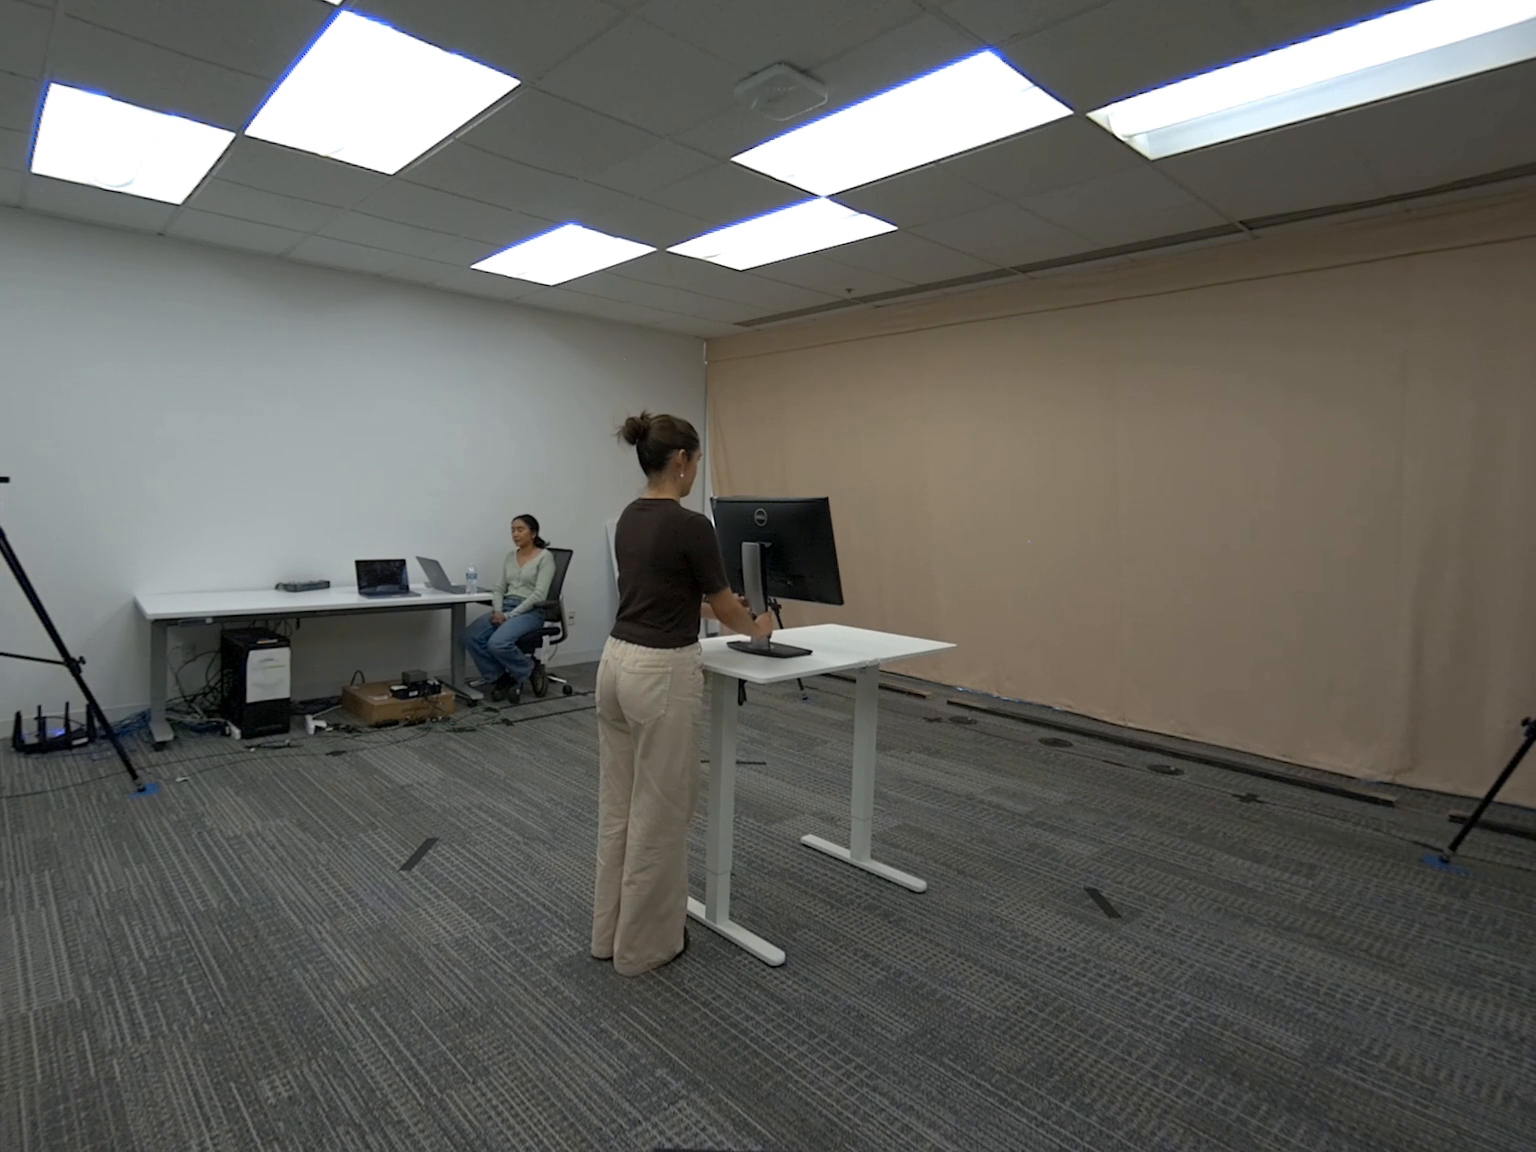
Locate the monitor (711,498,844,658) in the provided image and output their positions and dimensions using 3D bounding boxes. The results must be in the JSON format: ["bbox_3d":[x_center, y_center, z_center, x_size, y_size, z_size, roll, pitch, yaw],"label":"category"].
[{"bbox_3d":[0.004,-0.007,2.801,0.170,0.516,0.543,3,1,-44],"label":"monitor"}]
